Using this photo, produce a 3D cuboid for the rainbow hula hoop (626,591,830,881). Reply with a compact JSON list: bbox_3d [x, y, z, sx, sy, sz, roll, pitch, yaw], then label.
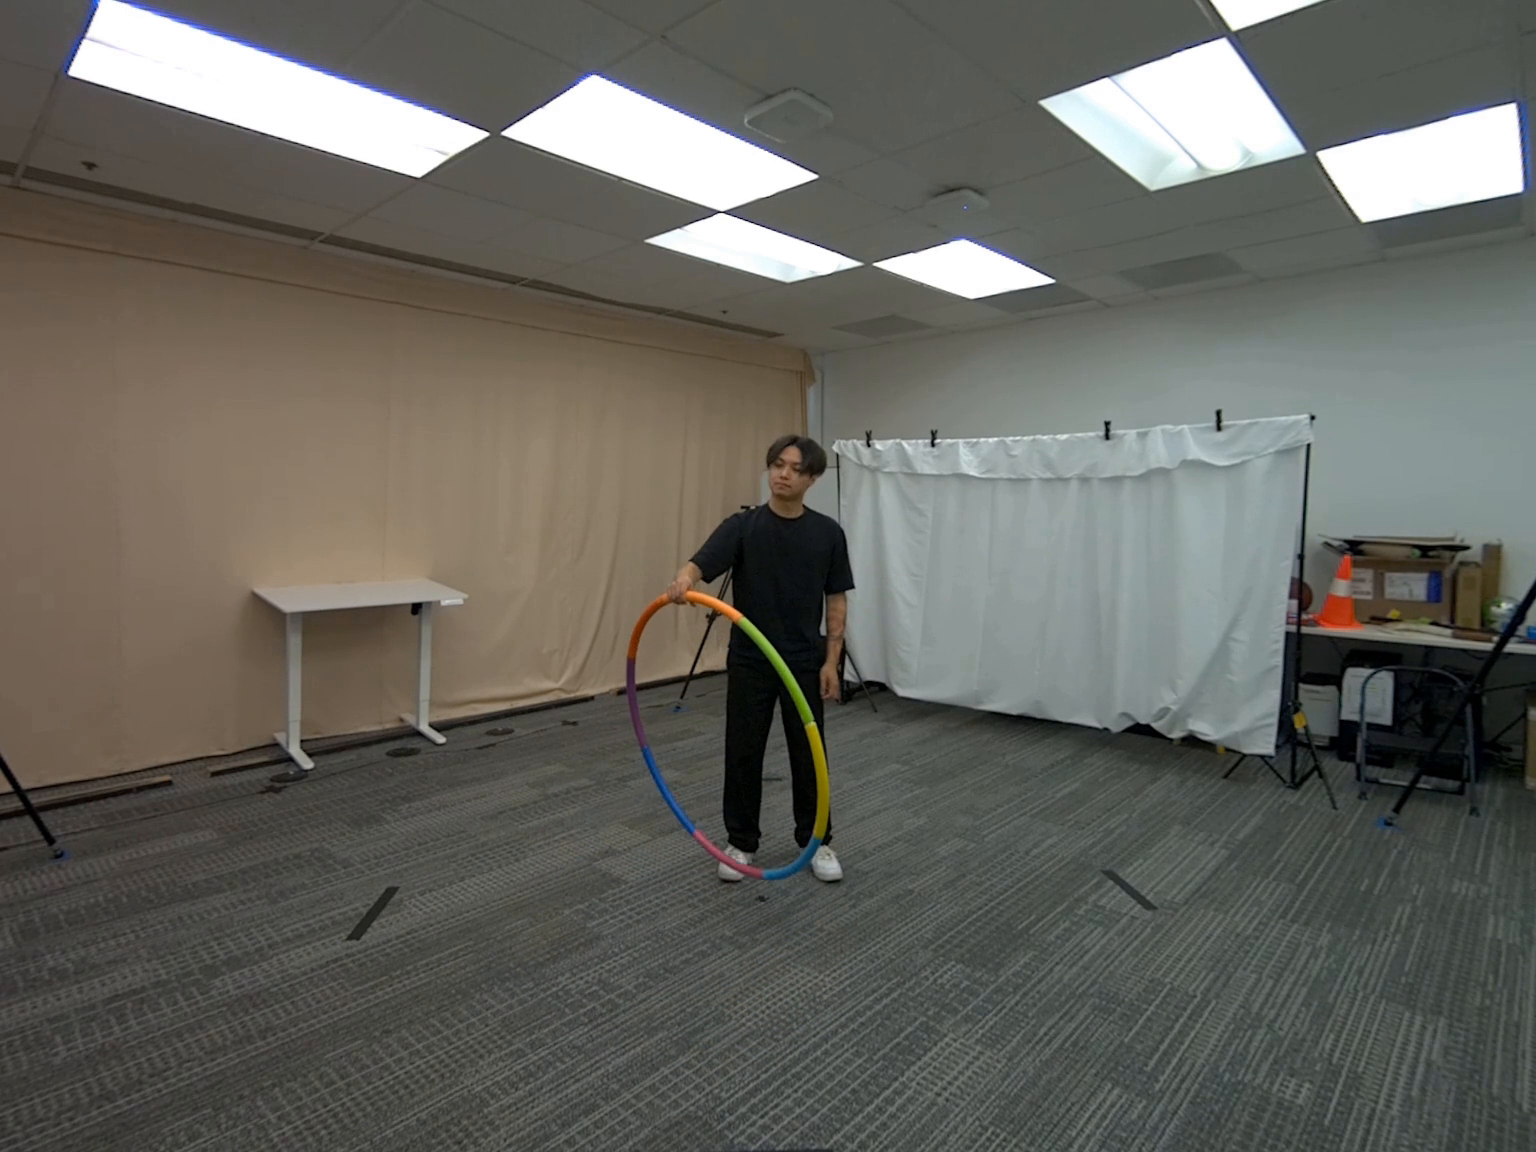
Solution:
[{"bbox_3d":[-0.170,0.524,2.807,0.034,0.971,1.011,-15,13,-41],"label":"rainbow hula hoop"}]
